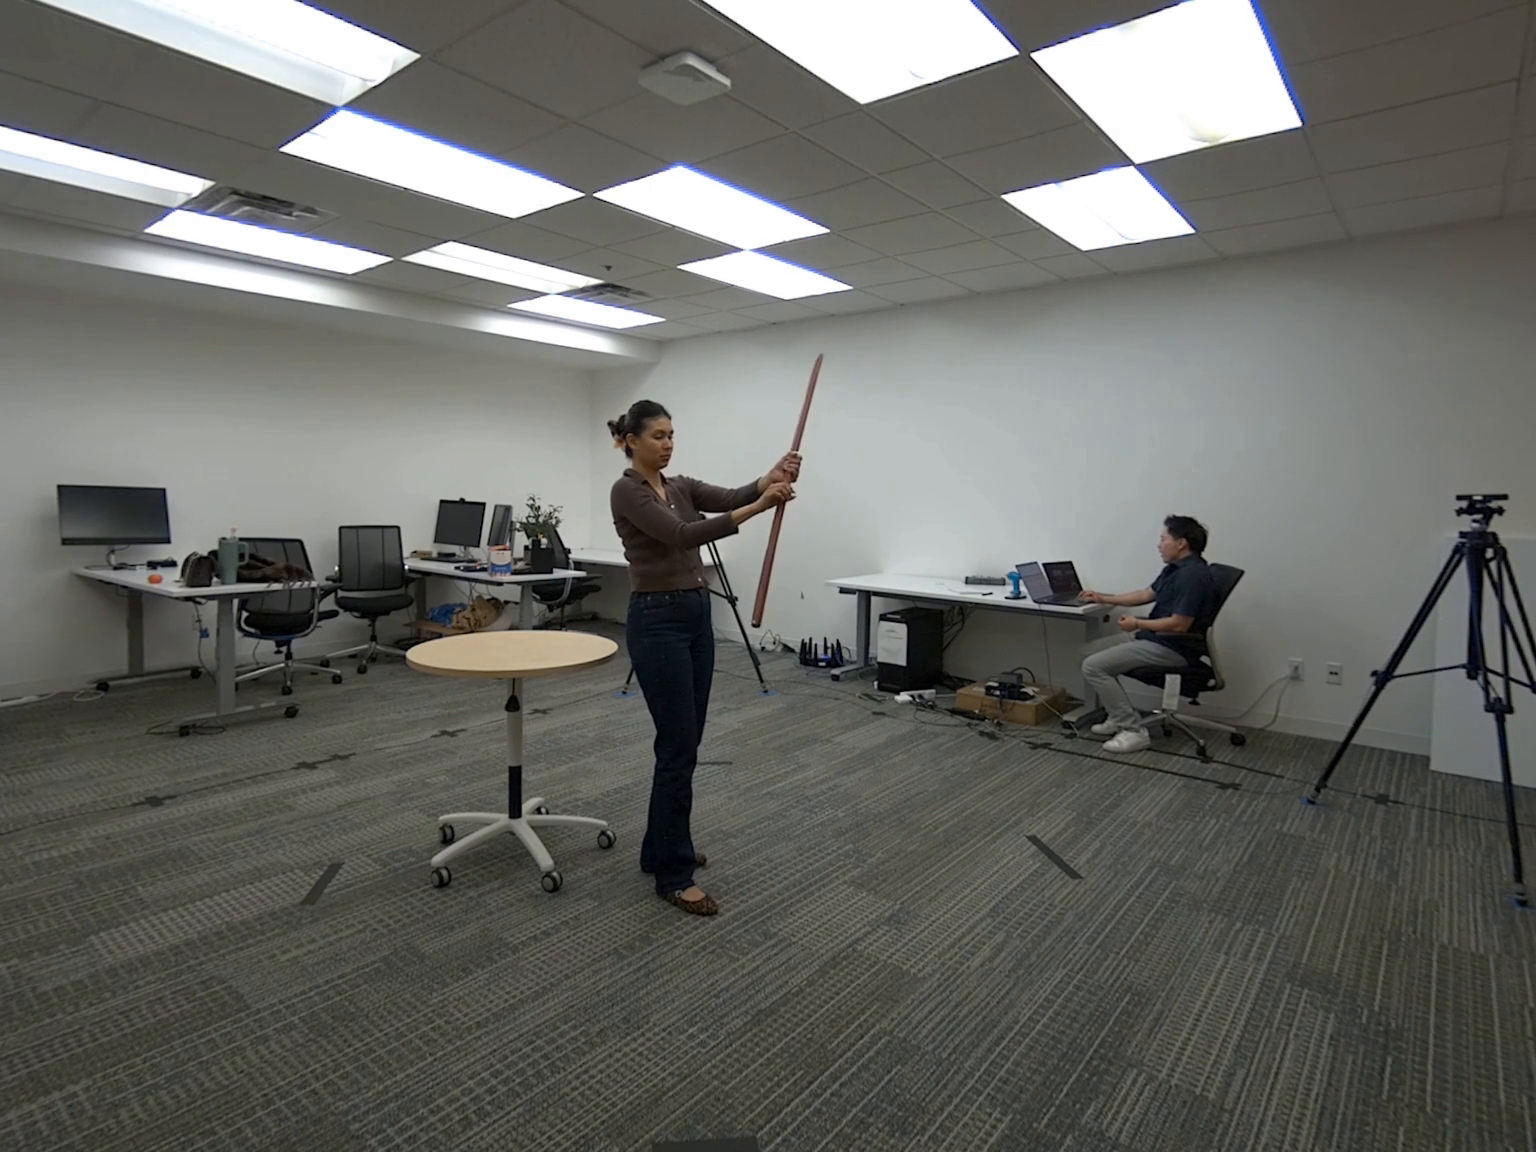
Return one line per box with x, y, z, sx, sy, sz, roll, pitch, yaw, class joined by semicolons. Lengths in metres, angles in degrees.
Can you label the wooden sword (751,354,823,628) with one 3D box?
0.067;-0.307;2.742;0.024;1.040;0.051;16;-24;-7;wooden sword
